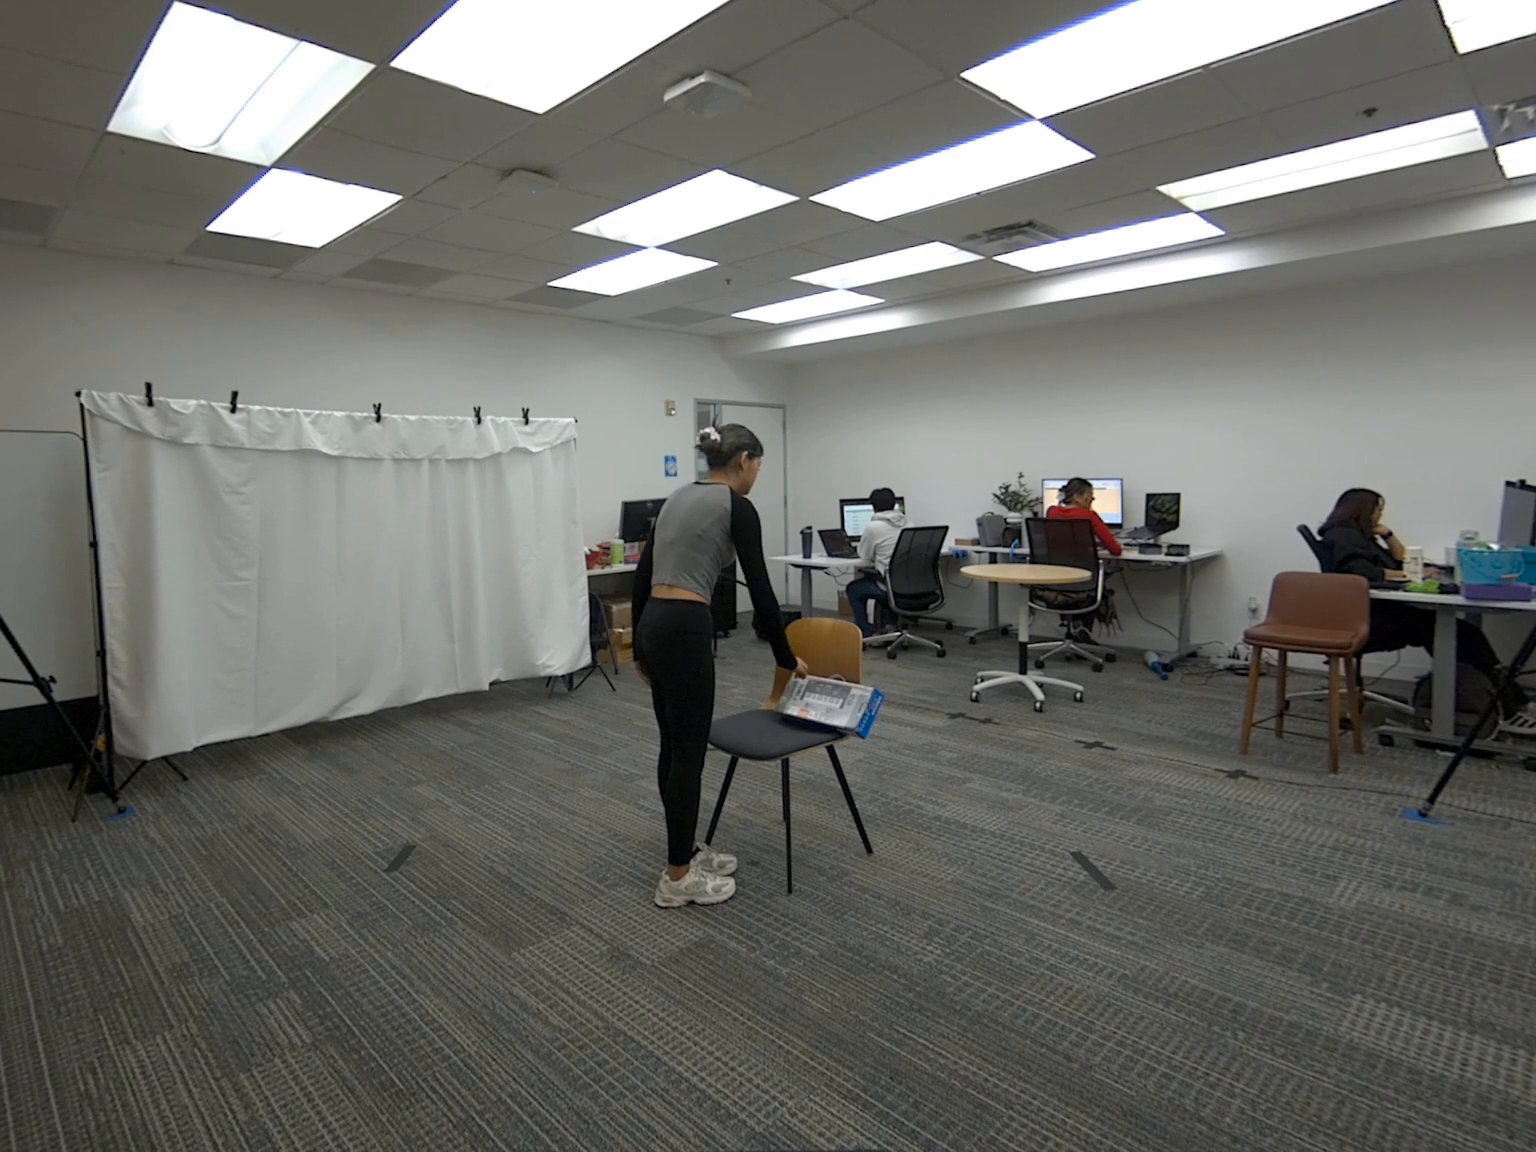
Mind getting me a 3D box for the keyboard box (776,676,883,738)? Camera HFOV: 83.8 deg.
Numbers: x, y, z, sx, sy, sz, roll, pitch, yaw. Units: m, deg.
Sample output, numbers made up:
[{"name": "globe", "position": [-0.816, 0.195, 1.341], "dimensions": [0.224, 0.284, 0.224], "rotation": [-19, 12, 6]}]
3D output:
[{"name": "keyboard box", "position": [0.214, 0.475, 3.124], "dimensions": [0.057, 0.177, 0.449], "rotation": [42, -23, -31]}]
